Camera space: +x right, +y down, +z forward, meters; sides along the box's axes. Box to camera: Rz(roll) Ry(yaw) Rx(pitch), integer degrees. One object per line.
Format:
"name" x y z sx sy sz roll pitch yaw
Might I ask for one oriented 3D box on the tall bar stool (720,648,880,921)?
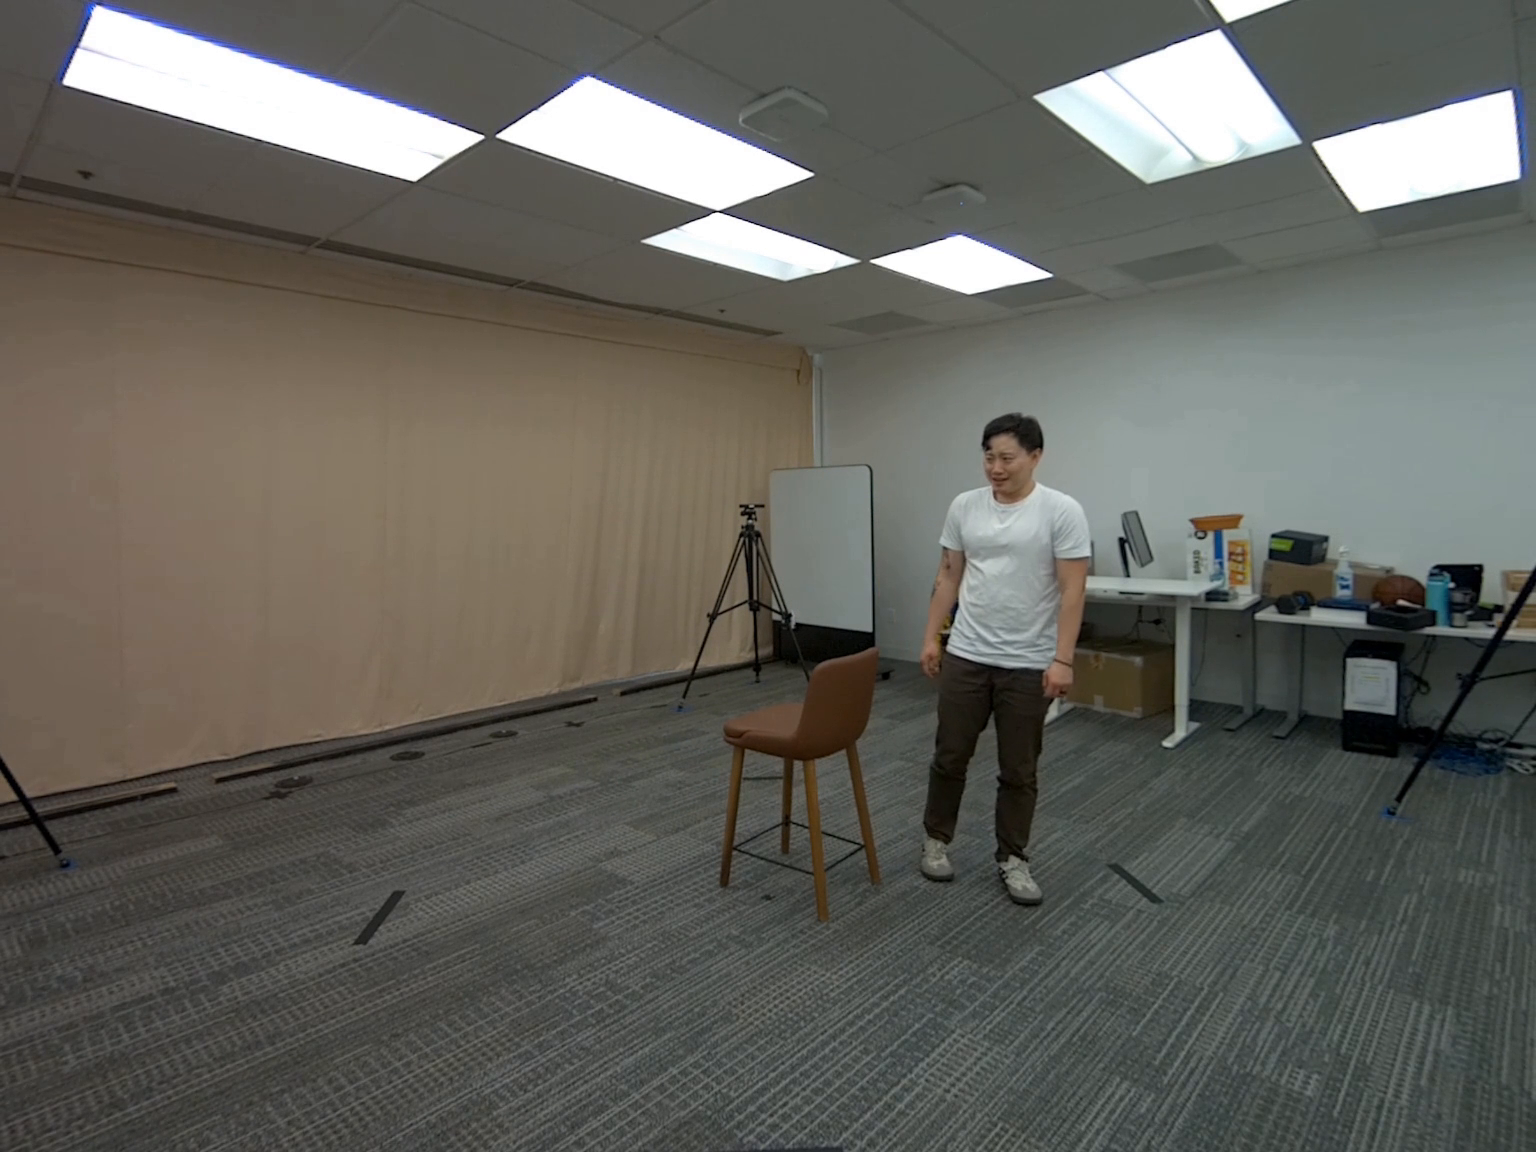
"tall bar stool" 0.129 0.694 3.055 0.483 0.887 0.443 5 6 39
